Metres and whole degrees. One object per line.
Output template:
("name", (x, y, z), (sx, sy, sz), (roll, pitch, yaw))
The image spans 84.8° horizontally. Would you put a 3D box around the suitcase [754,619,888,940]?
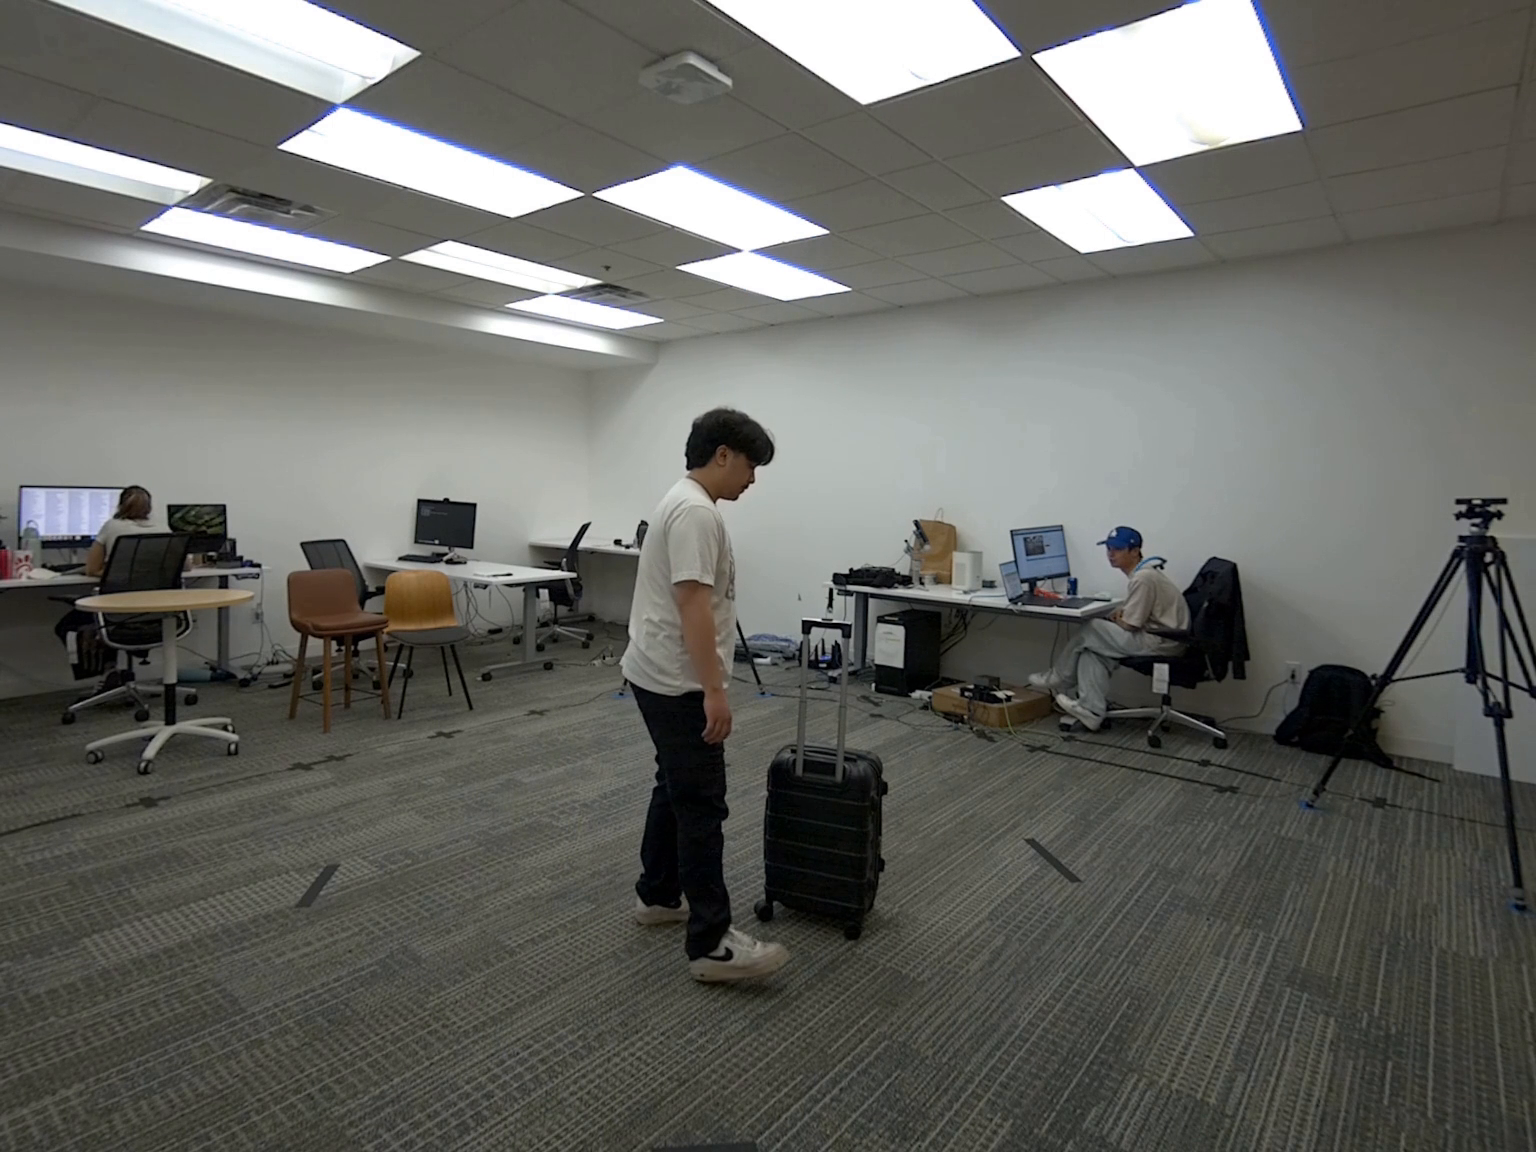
("suitcase", (0.189, 0.632, 2.800), (0.393, 0.978, 0.251), (4, 1, 20))
